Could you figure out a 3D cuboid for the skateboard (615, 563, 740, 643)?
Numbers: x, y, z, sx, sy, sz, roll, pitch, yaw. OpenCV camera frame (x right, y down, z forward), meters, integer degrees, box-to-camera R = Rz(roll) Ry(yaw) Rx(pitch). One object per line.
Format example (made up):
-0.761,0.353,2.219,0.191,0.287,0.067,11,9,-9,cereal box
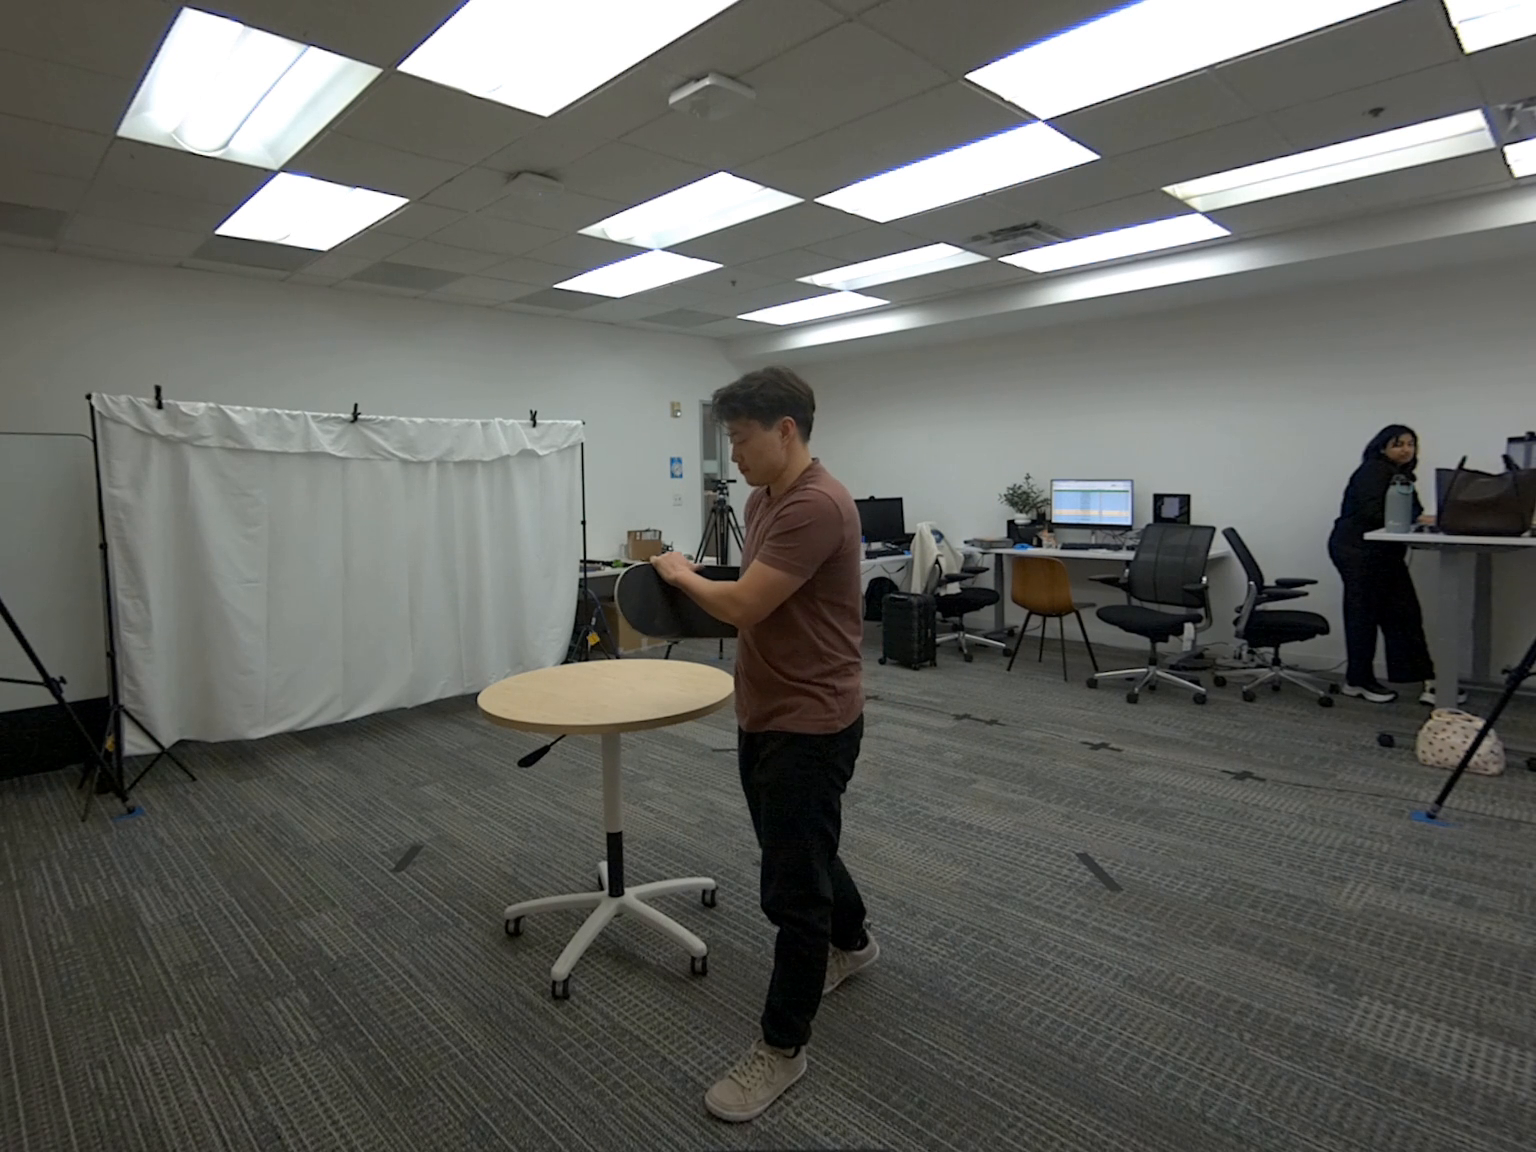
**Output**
-0.062,0.079,2.259,0.763,0.196,0.112,2,-17,-34,skateboard
